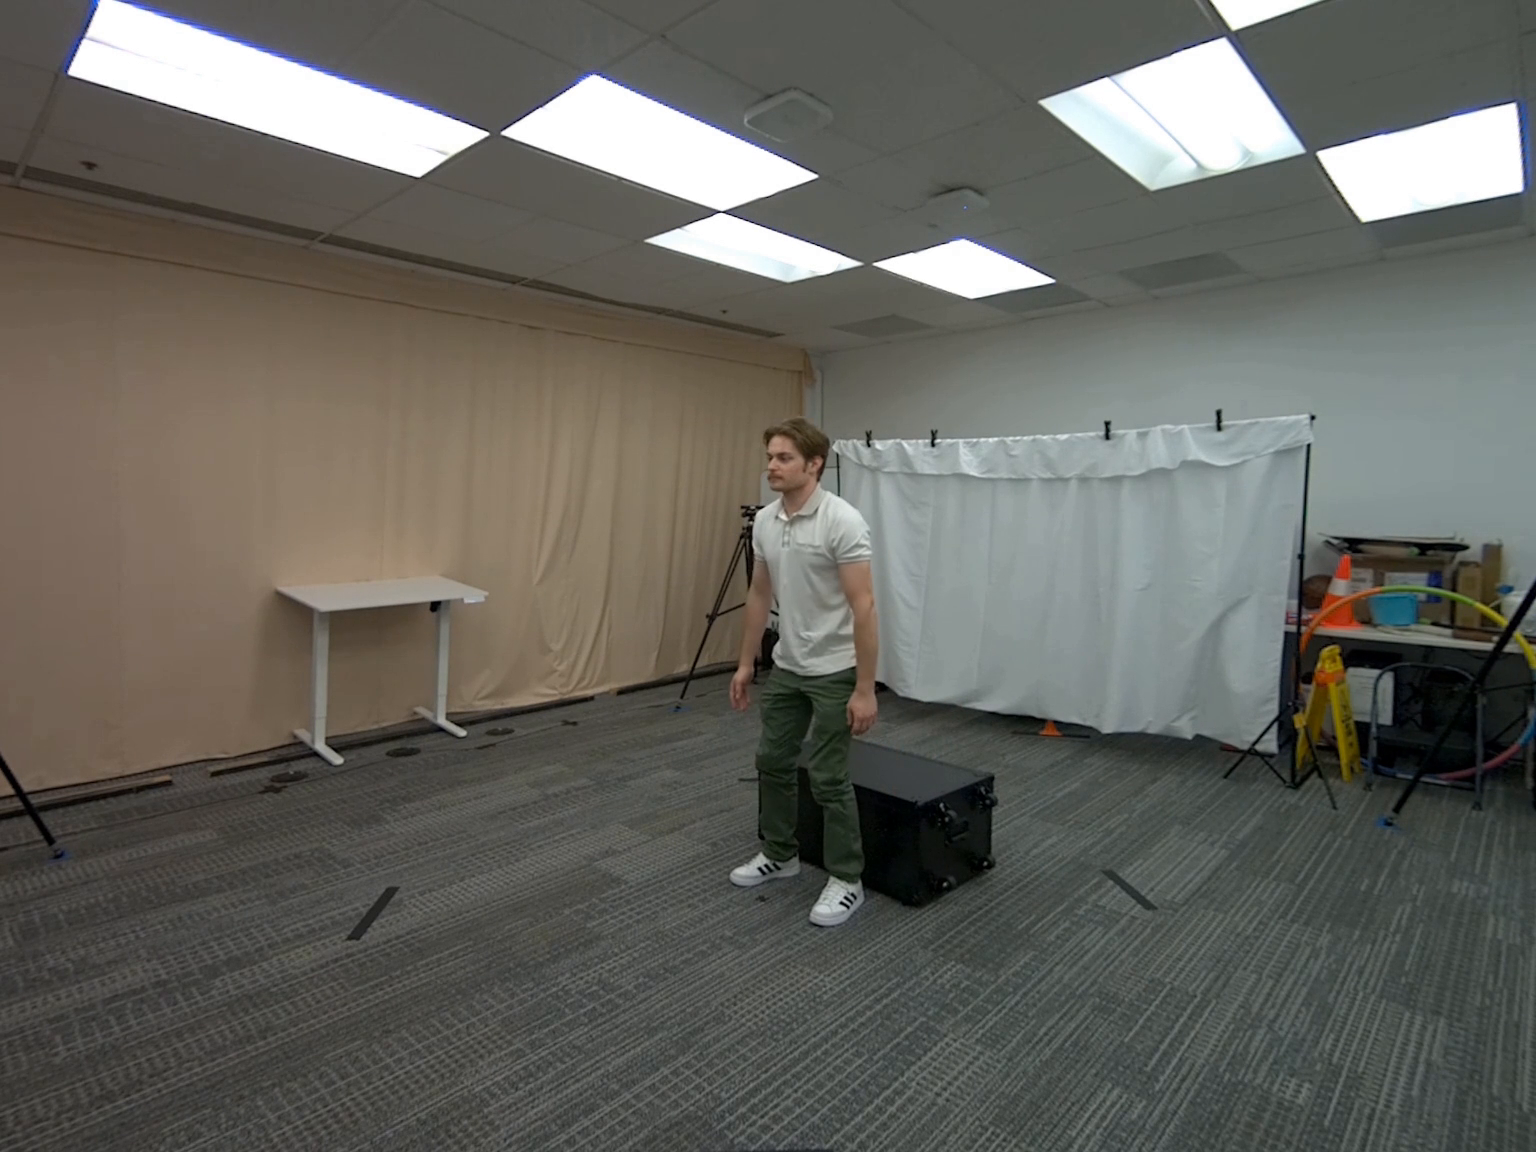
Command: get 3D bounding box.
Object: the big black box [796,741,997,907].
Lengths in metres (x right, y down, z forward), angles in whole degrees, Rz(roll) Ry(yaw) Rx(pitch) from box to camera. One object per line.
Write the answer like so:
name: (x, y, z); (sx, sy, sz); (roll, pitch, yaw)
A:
big black box: (0.432, 0.920, 3.291); (0.507, 0.384, 0.898); (-2, 4, -44)
